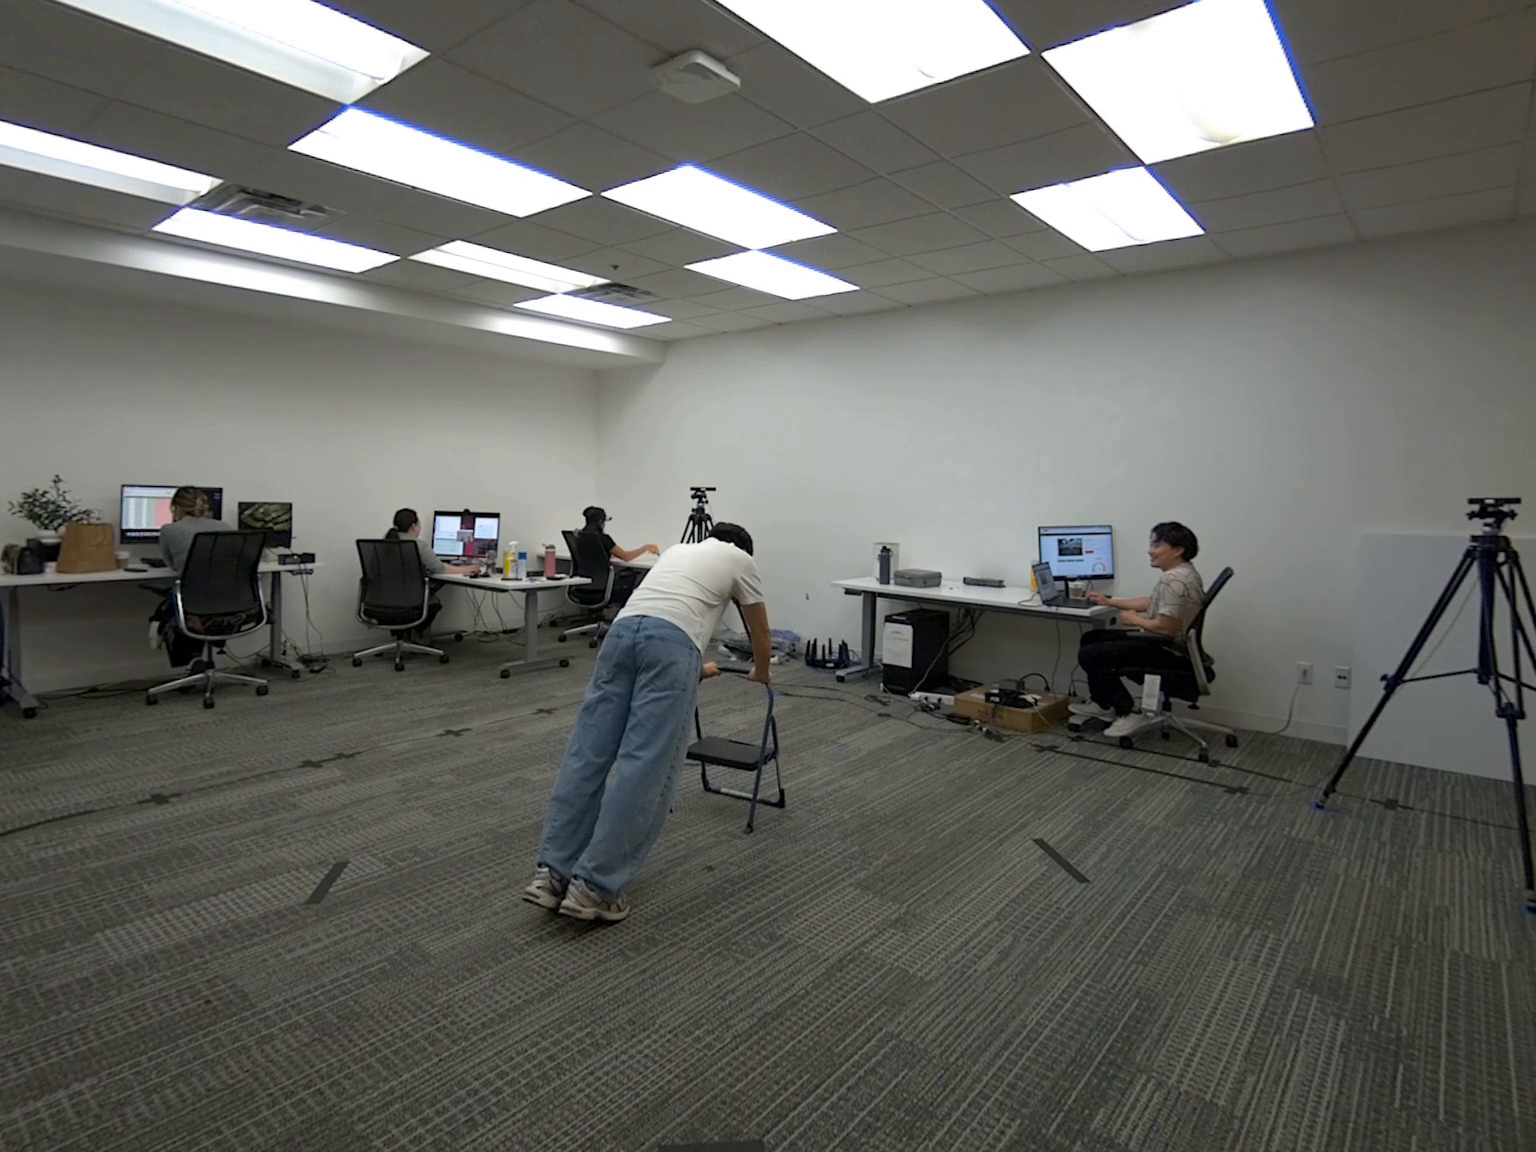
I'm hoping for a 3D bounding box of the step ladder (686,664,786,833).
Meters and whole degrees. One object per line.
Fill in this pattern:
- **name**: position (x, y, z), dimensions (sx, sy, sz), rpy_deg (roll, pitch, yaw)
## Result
- **step ladder**: position (-0.183, 0.708, 3.677), dimensions (0.443, 0.605, 0.340), rpy_deg (3, 3, 28)
